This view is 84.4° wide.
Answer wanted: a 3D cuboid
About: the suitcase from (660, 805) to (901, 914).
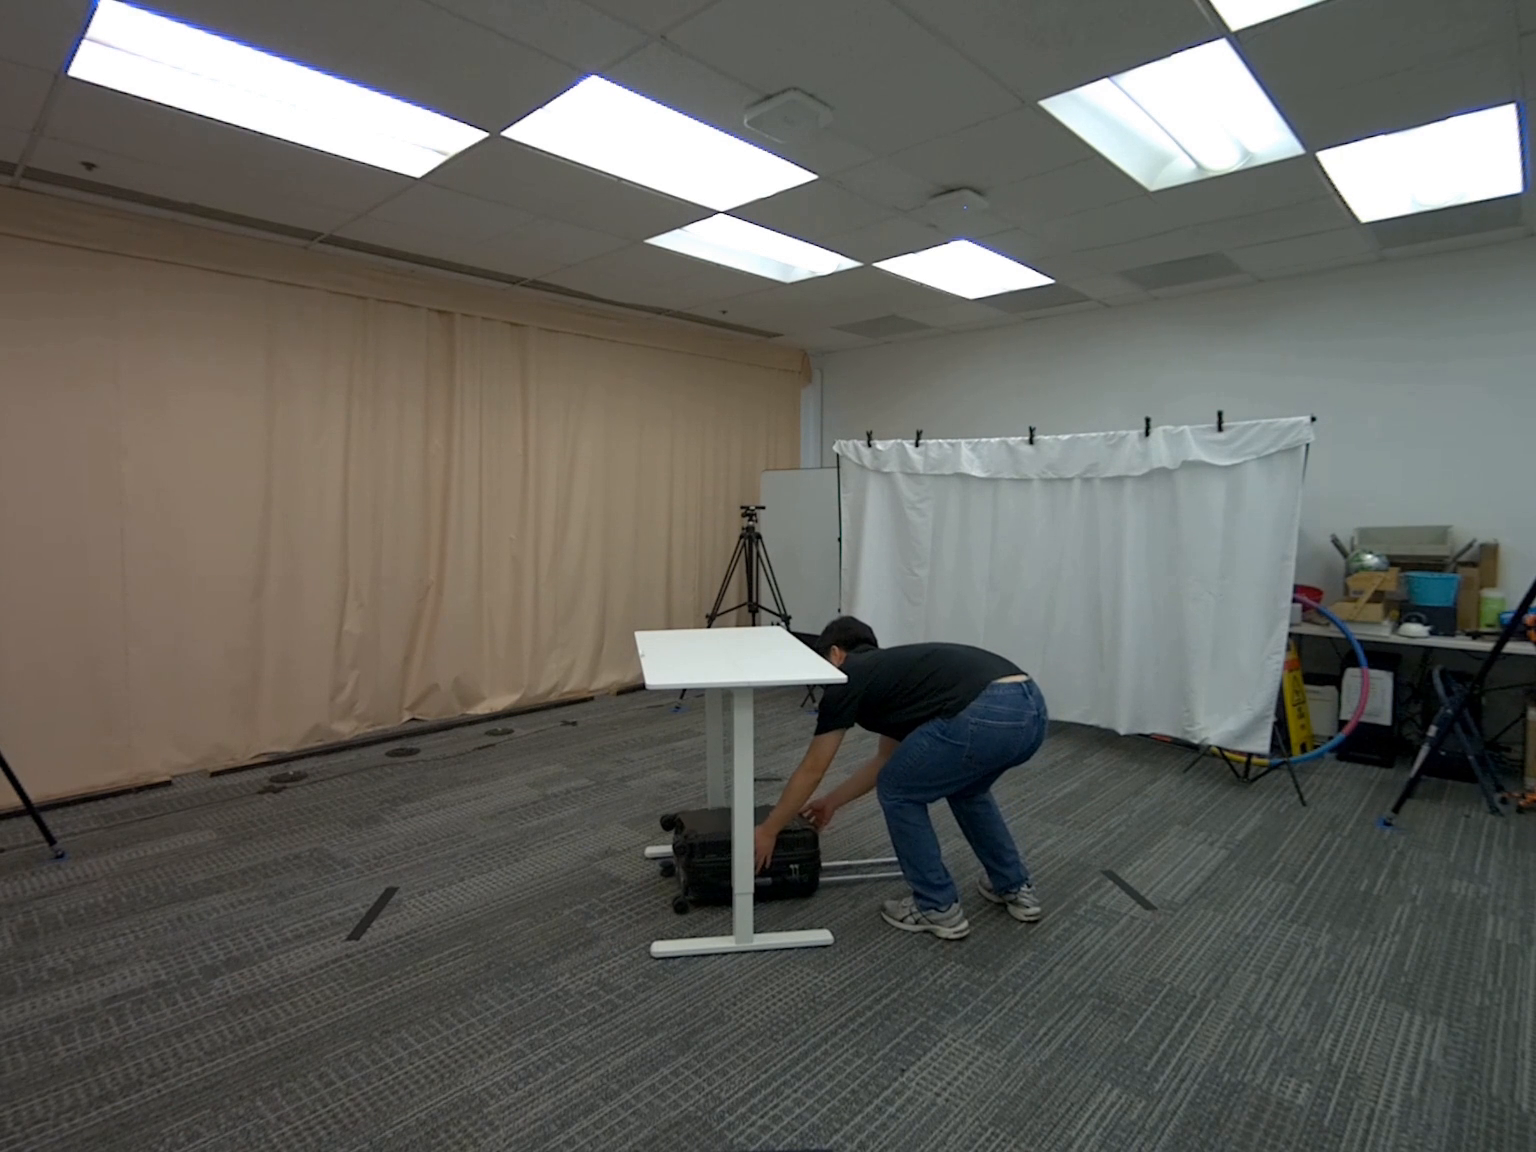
[{"bbox_3d":[0.107,1.005,3.120,0.967,0.257,0.389,-2,2,-12],"label":"suitcase"}]
